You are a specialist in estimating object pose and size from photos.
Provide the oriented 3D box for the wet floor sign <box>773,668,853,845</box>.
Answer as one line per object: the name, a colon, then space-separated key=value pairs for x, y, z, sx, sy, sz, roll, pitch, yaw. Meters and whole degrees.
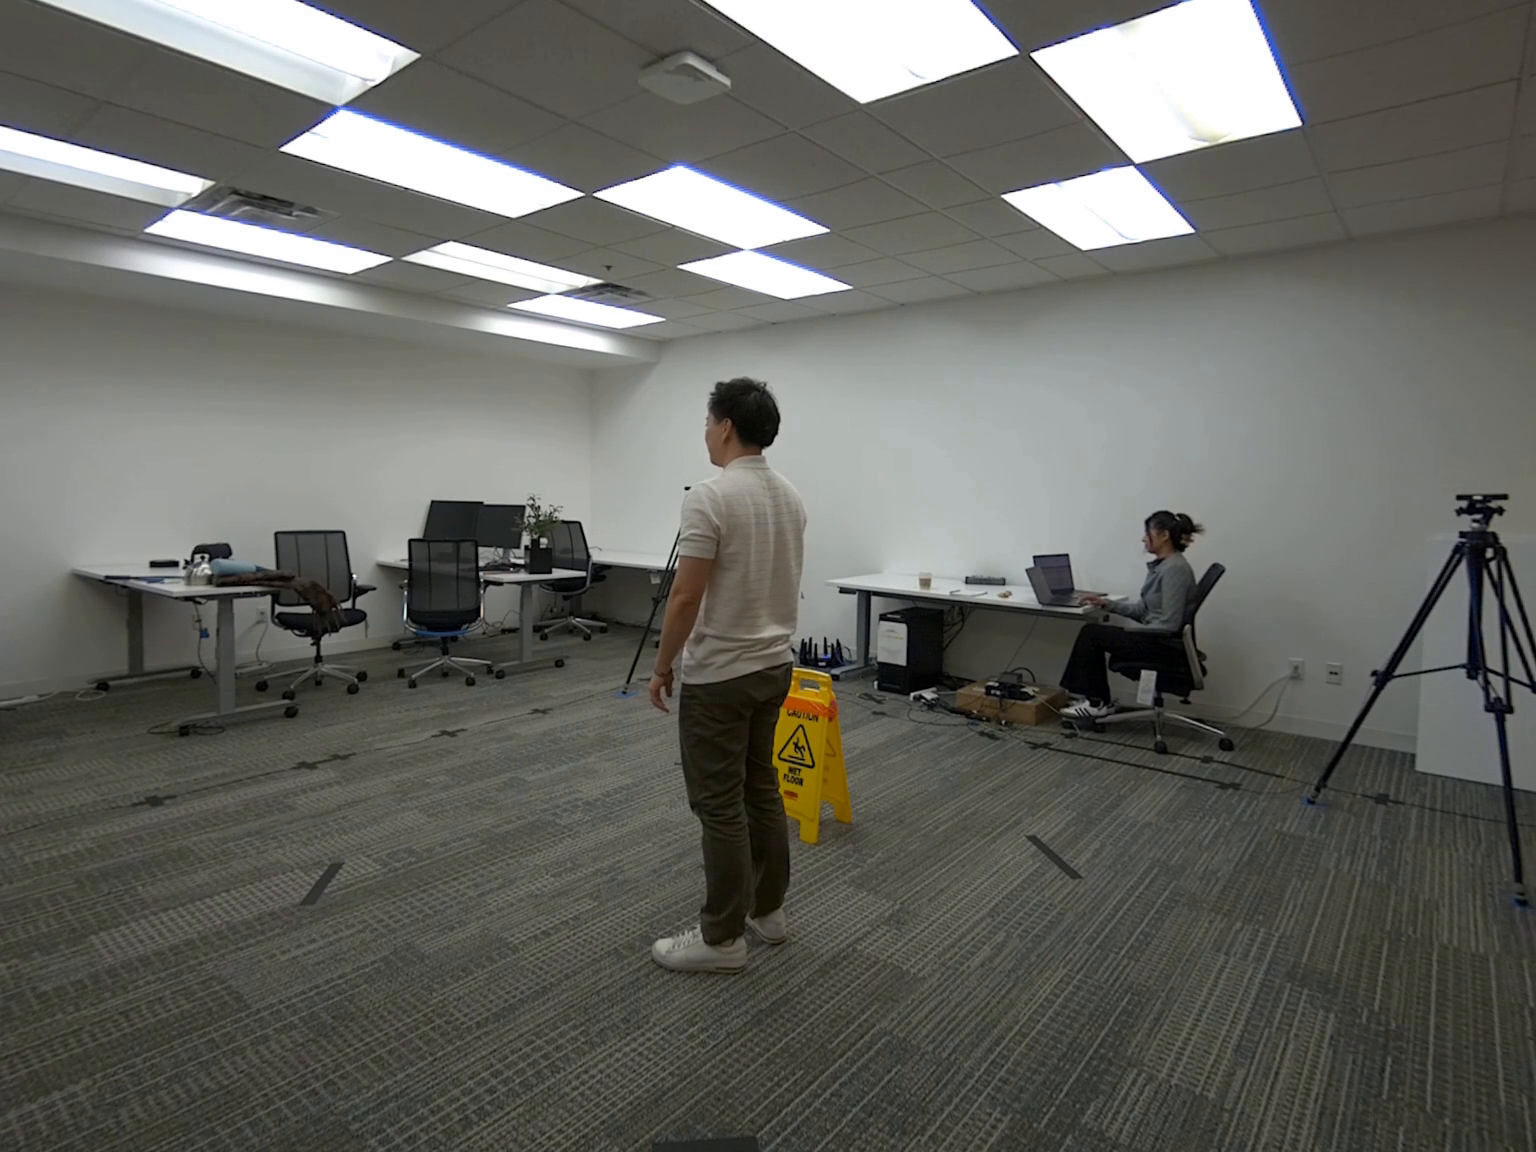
wet floor sign: x=0.157 y=0.707 z=3.516 sx=0.291 sy=0.644 sz=0.281 roll=5 pitch=4 yaw=36
